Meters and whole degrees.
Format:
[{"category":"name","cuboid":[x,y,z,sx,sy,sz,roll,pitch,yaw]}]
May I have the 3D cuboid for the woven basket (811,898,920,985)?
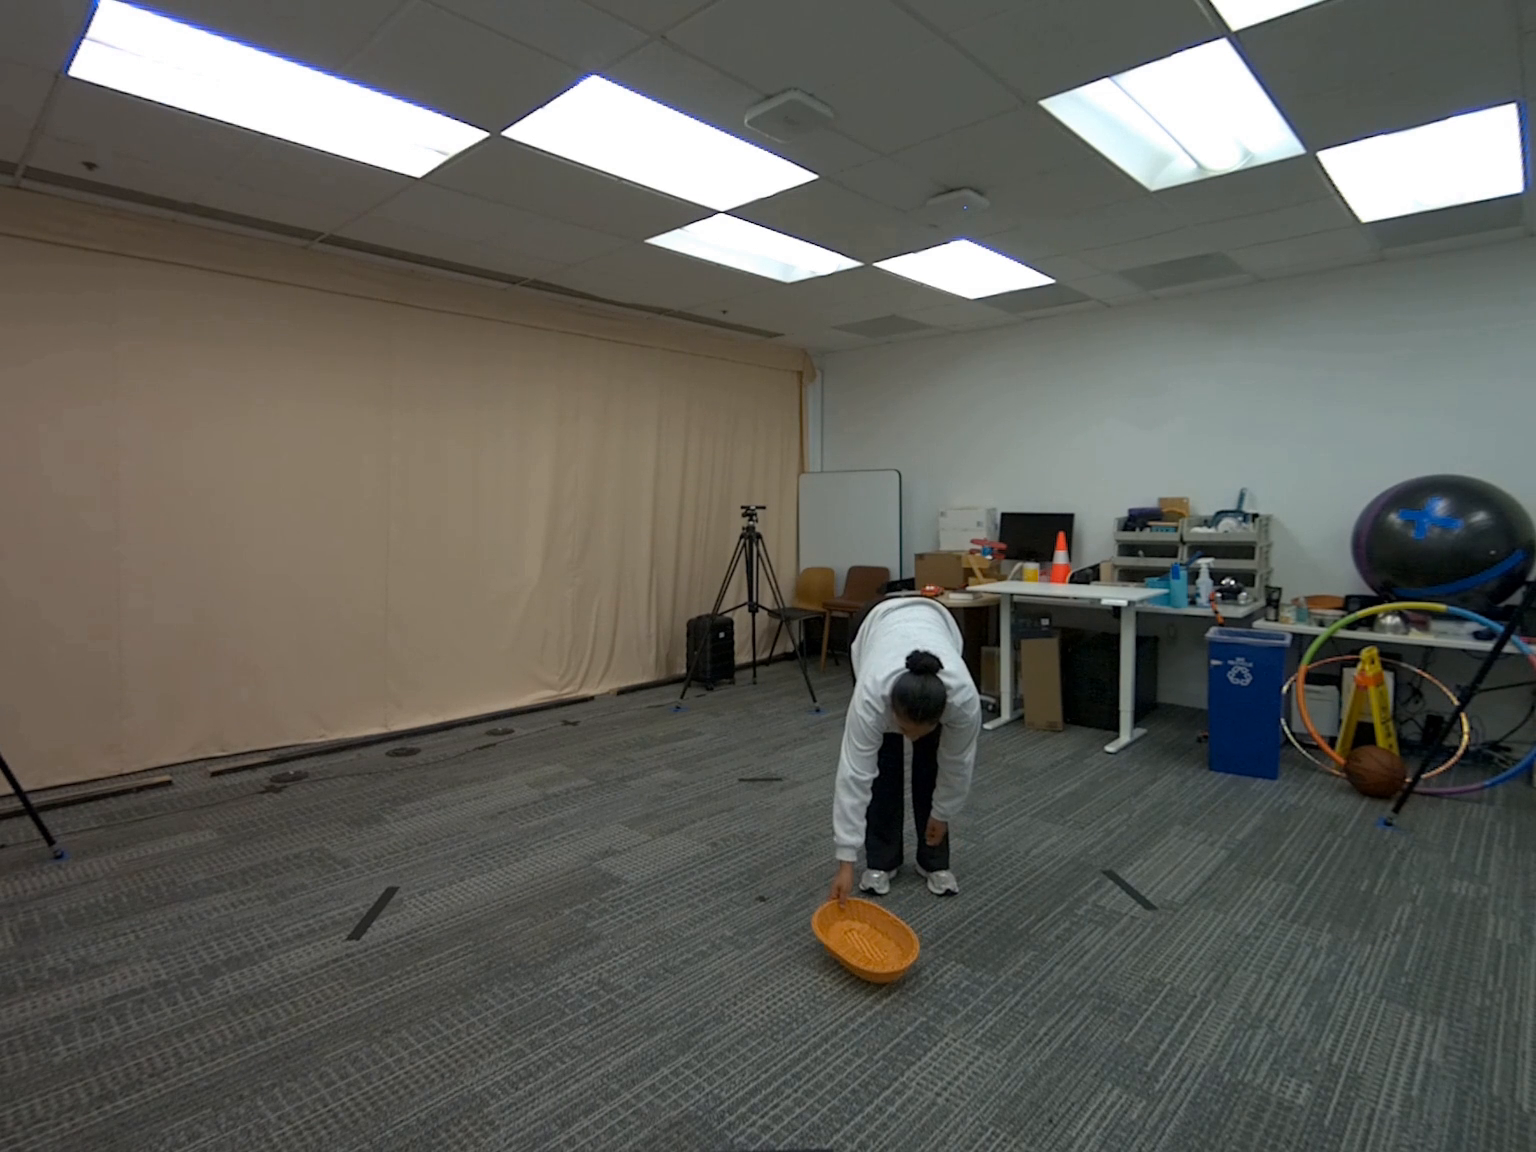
[{"category":"woven basket","cuboid":[0.302,1.108,2.531,0.246,0.073,0.363,-13,19,-35]}]
